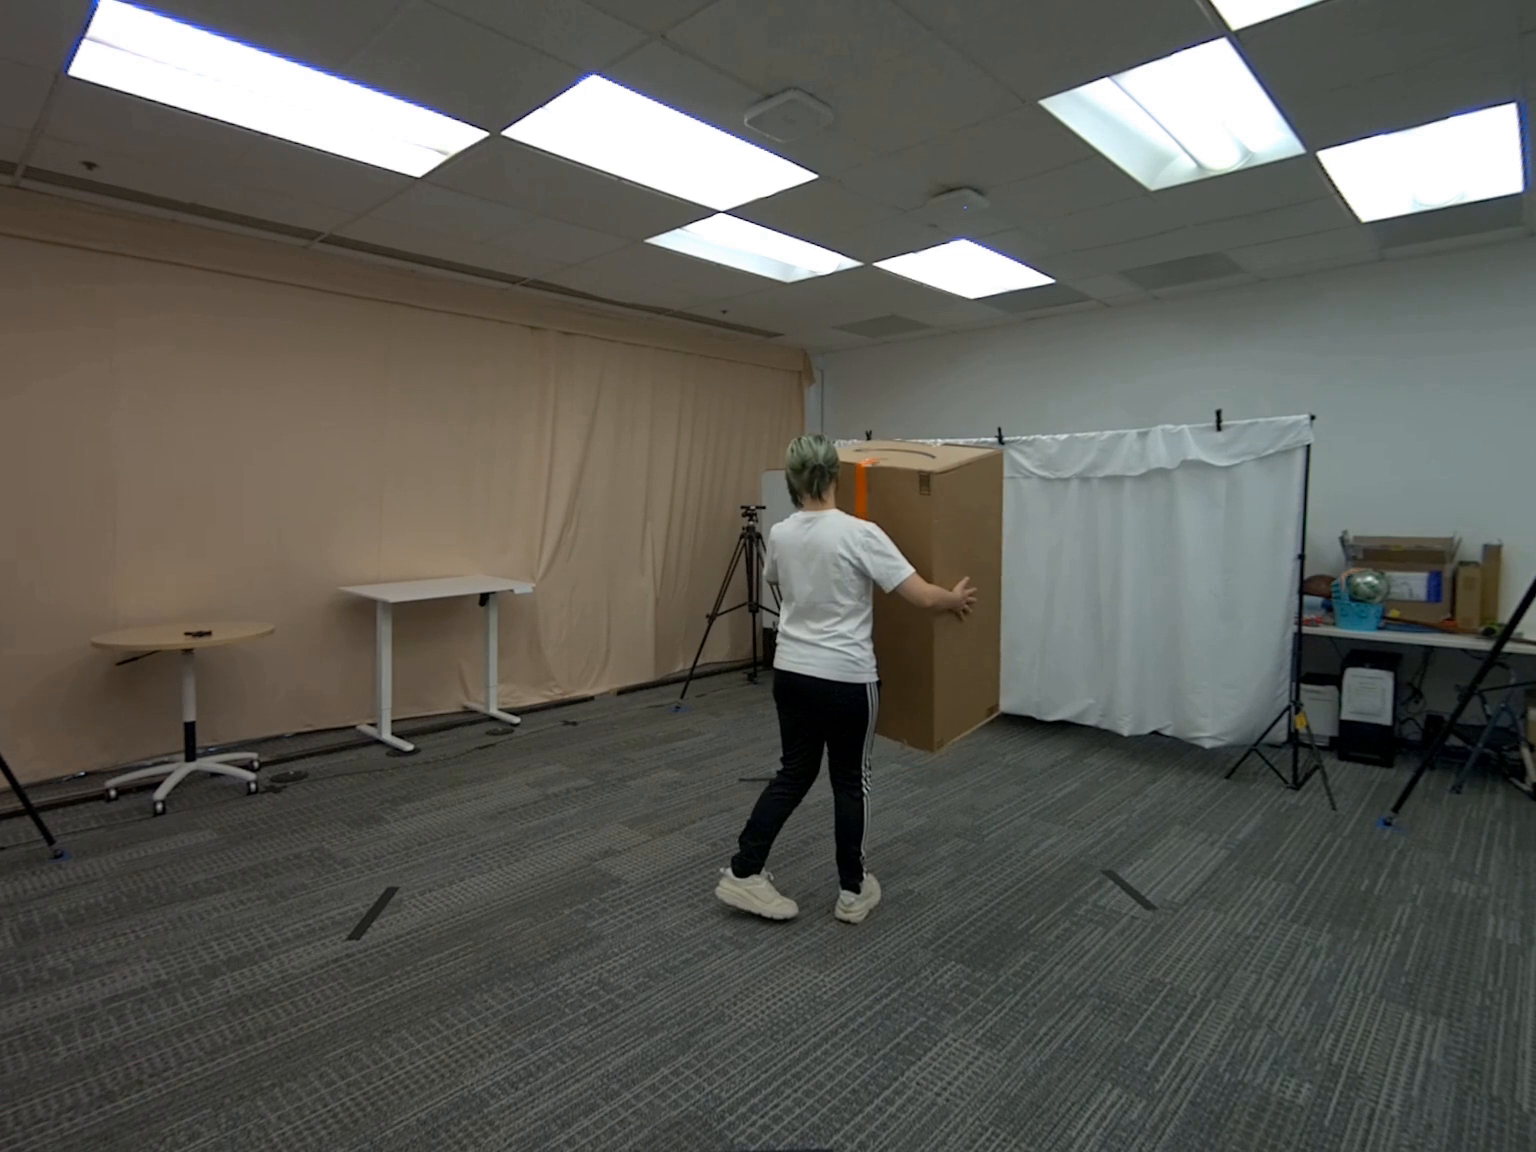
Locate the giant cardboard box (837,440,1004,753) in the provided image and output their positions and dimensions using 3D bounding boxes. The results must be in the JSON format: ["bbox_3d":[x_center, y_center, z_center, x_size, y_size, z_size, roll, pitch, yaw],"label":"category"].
[{"bbox_3d":[0.506,0.049,3.157,0.436,1.016,0.605,-17,21,-40],"label":"giant cardboard box"}]
